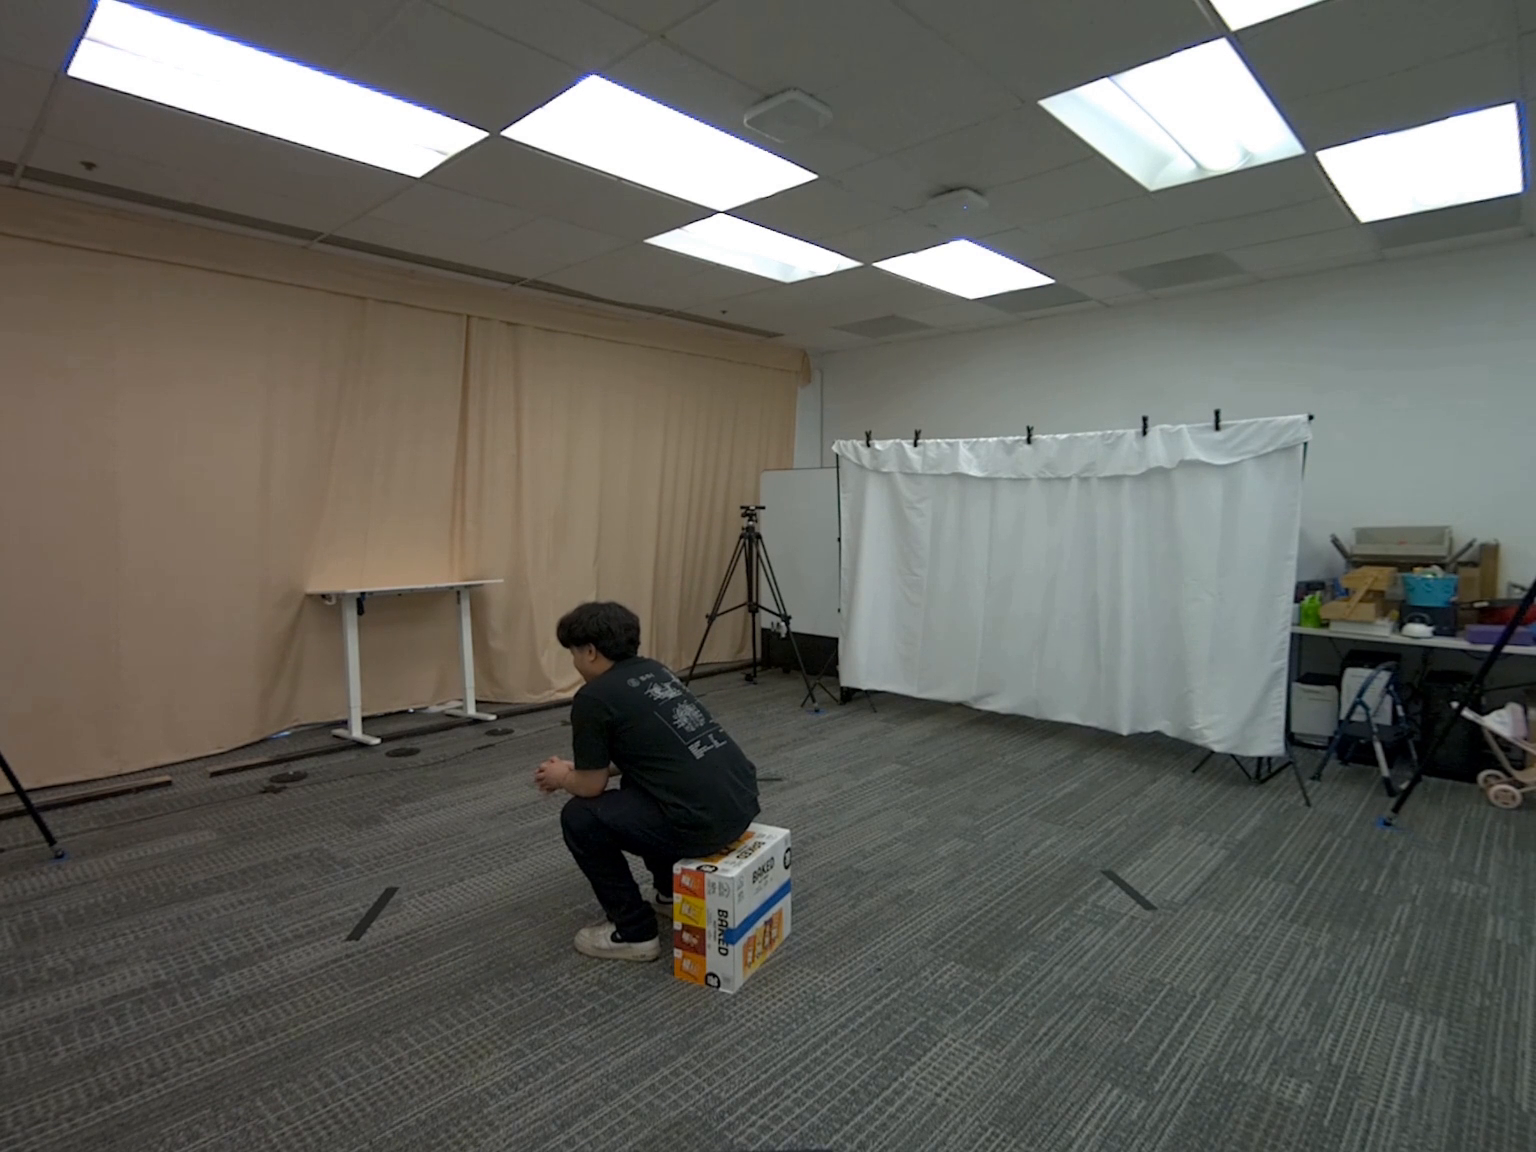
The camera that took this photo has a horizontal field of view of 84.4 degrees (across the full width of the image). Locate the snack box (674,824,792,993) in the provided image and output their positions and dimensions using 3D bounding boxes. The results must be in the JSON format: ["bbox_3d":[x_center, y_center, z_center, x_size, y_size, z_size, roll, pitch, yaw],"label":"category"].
[{"bbox_3d":[-0.097,1.009,2.612,0.211,0.339,0.395,2,4,27],"label":"snack box"}]
